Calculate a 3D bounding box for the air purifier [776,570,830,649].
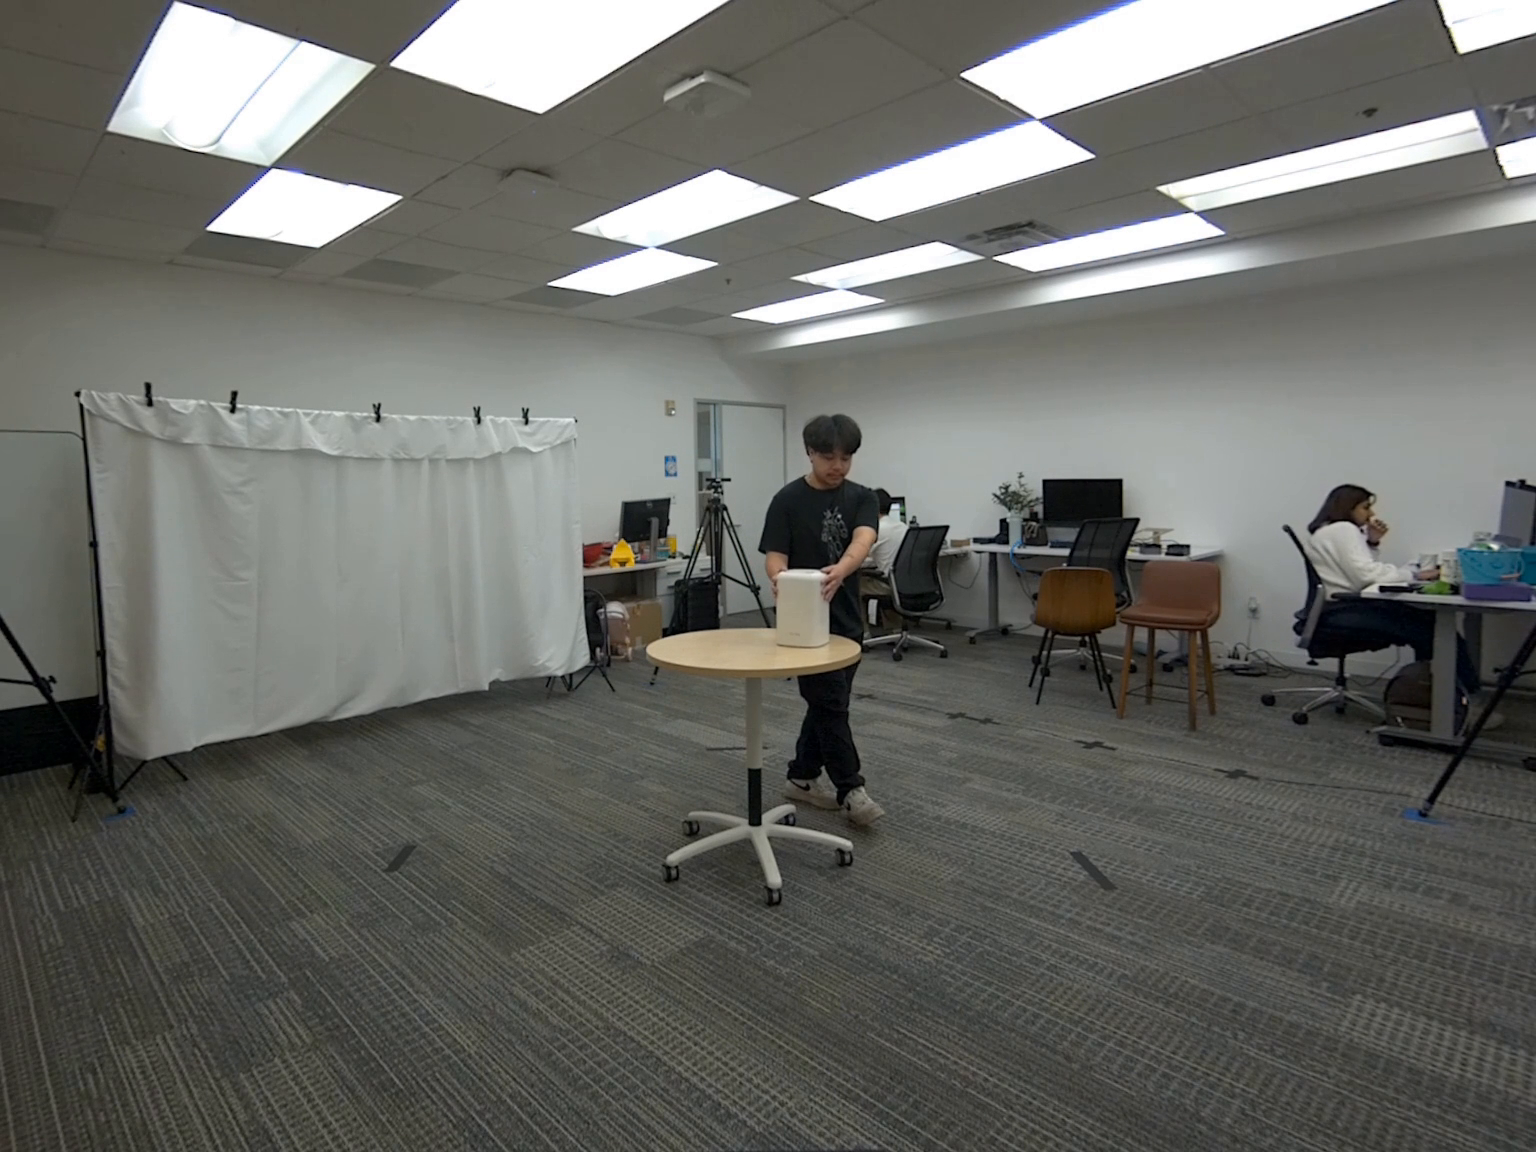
[{"bbox_3d":[0.127,0.116,3.109,0.175,0.264,0.168,1,4,24],"label":"air purifier"}]
